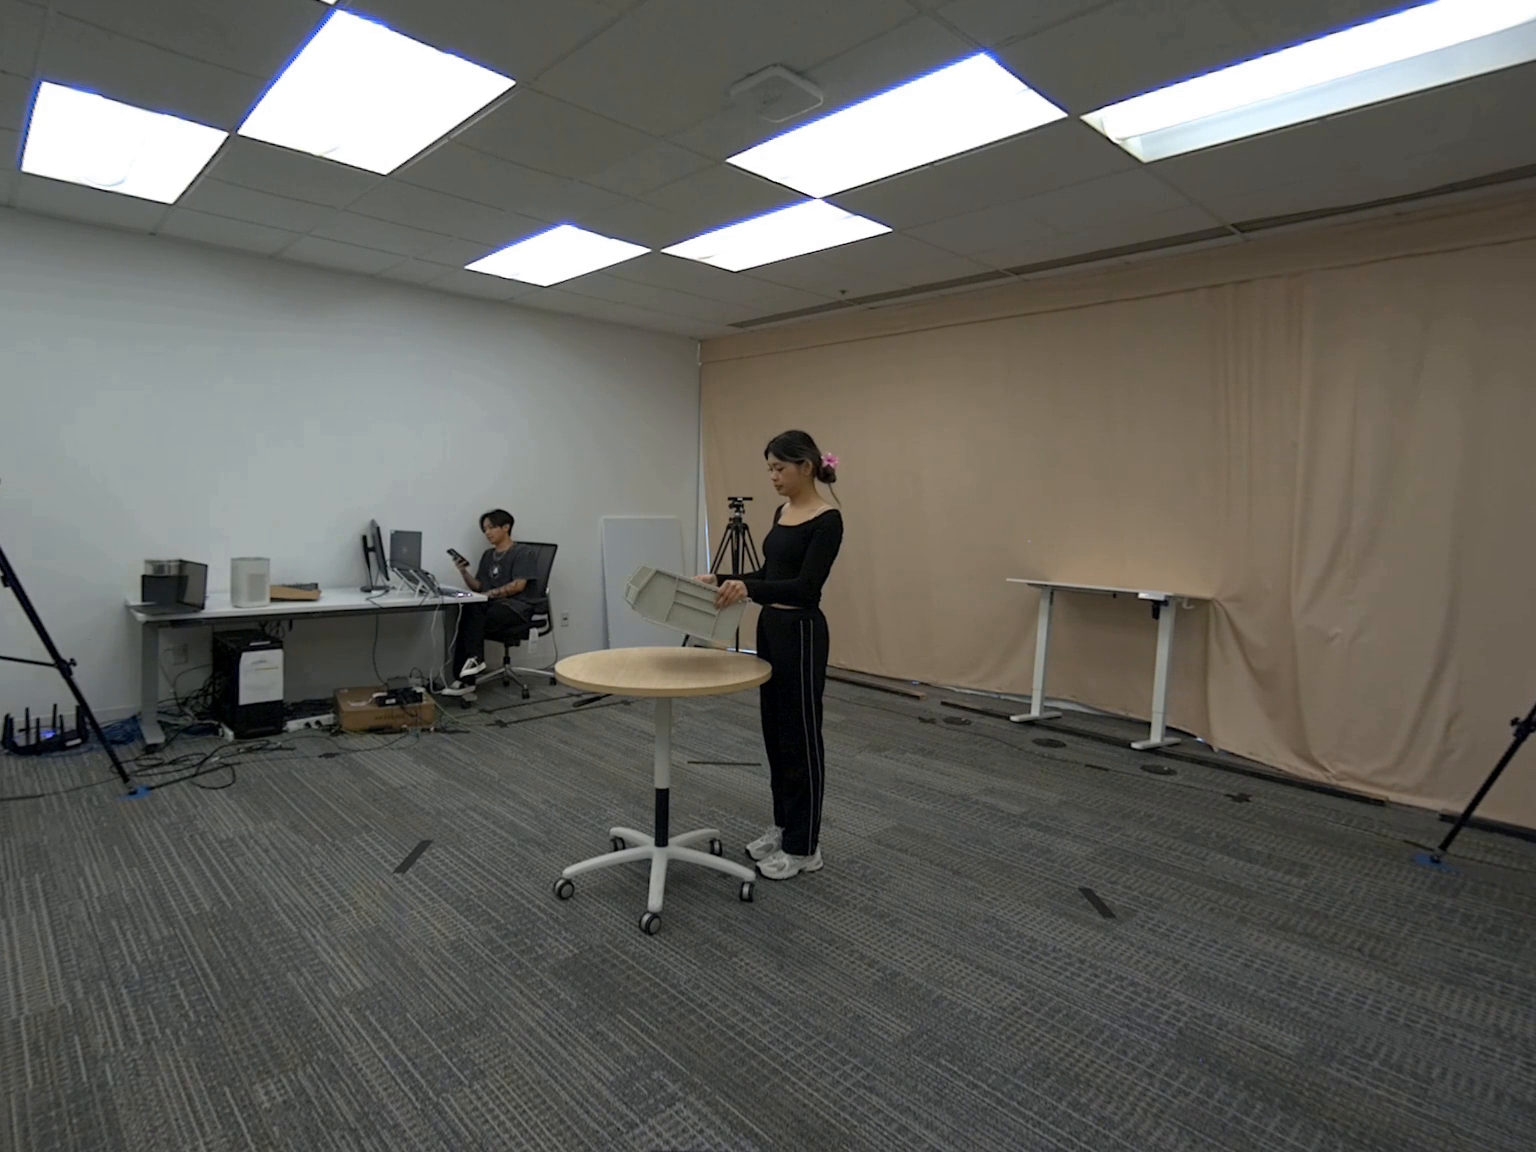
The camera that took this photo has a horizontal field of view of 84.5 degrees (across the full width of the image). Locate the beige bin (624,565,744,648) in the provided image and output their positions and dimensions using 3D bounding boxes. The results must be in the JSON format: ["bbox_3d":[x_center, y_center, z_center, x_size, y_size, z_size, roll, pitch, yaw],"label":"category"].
[{"bbox_3d":[-0.317,0.096,2.984,0.373,0.189,0.427,20,-3,-13],"label":"beige bin"}]
